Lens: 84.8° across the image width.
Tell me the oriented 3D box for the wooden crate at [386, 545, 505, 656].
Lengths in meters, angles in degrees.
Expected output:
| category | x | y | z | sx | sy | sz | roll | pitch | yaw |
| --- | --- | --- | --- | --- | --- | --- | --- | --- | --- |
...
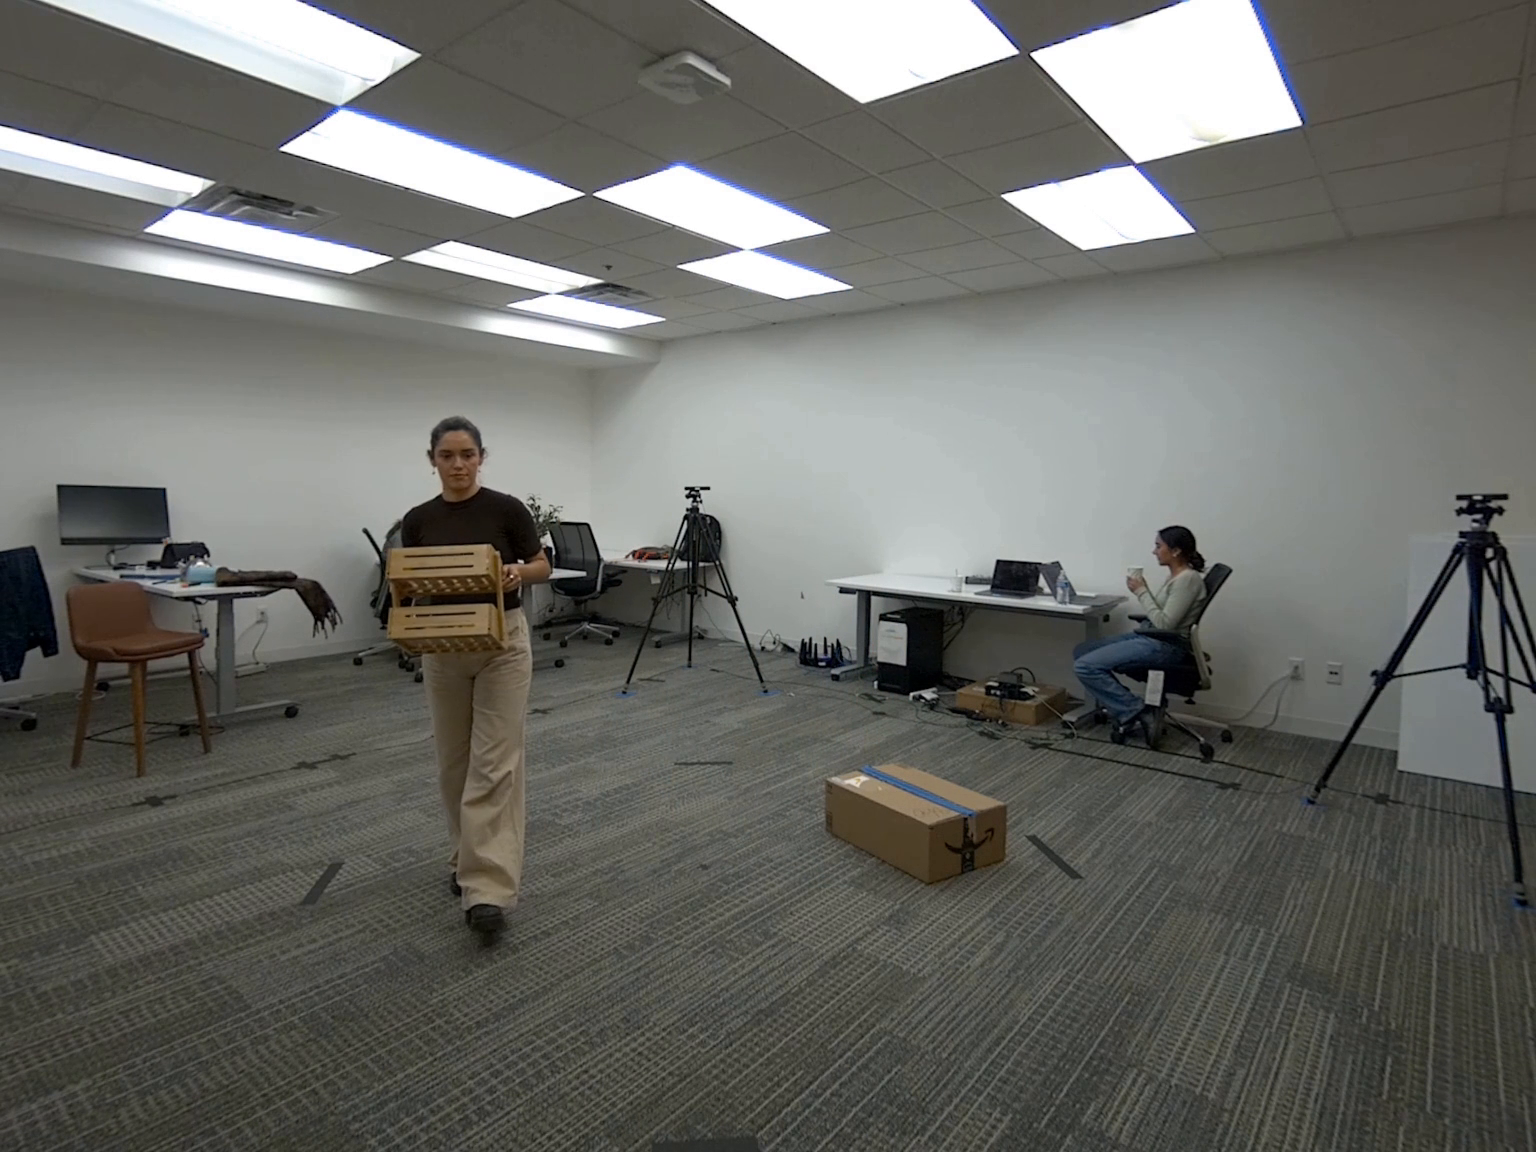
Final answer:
| category | x | y | z | sx | sy | sz | roll | pitch | yaw |
| --- | --- | --- | --- | --- | --- | --- | --- | --- | --- |
| wooden crate | -0.992 | 0.072 | 2.619 | 0.323 | 0.278 | 0.297 | -2 | -19 | -4 |
